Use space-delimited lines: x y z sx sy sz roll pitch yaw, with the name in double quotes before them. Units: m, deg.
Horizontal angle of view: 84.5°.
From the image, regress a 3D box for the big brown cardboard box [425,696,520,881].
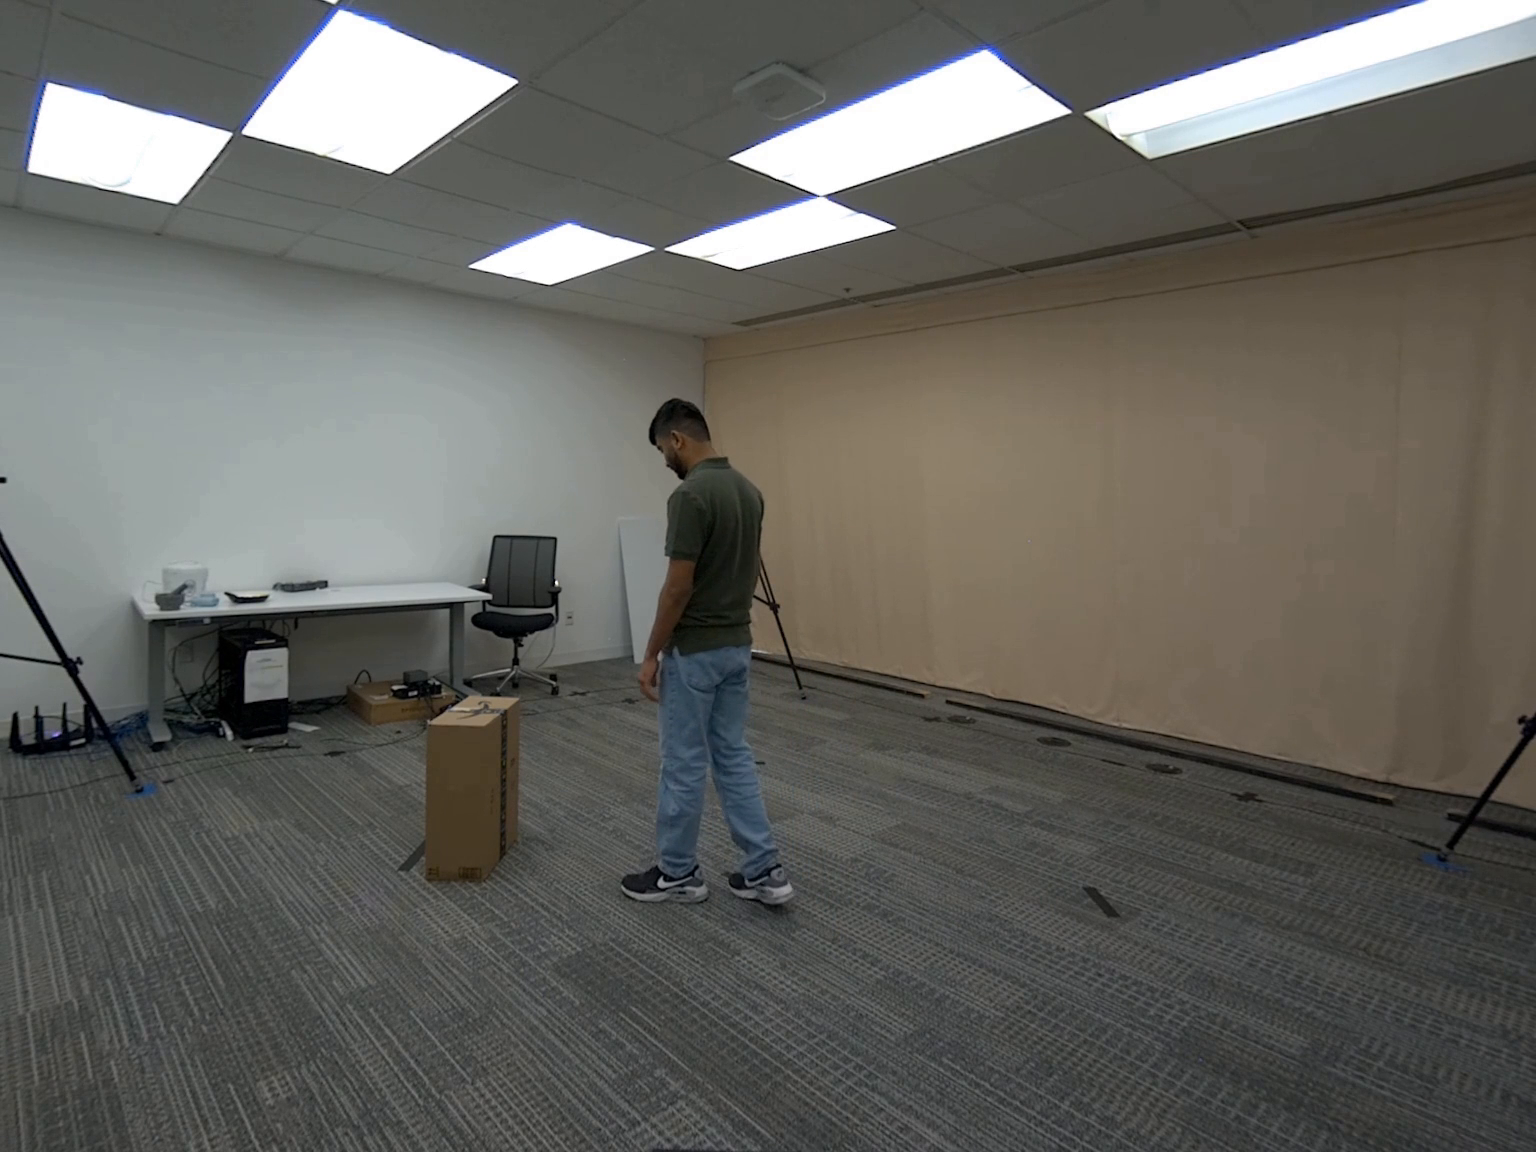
"big brown cardboard box" -1.120 0.793 3.198 0.234 0.588 0.417 3 3 2
